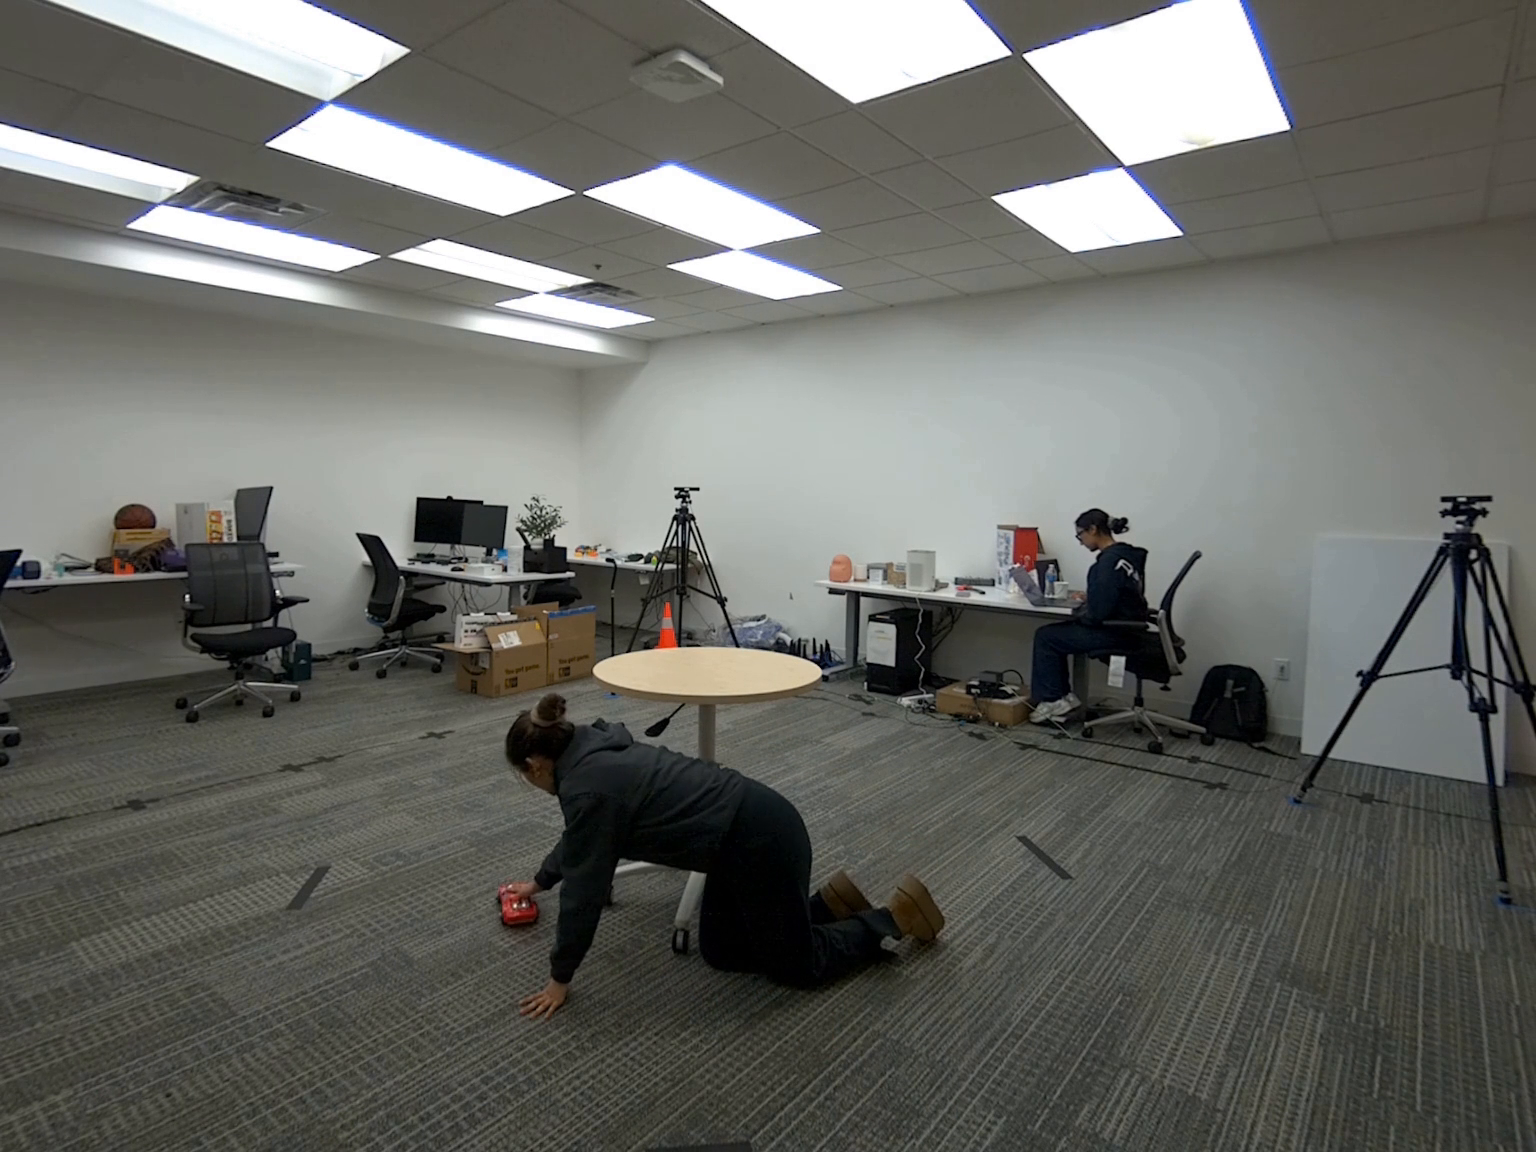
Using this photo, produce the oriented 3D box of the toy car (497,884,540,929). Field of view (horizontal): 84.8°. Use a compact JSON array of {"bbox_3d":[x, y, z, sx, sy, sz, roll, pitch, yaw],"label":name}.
[{"bbox_3d":[-0.807,1.064,2.757,0.127,0.084,0.258,0,-6,-21],"label":"toy car"}]
